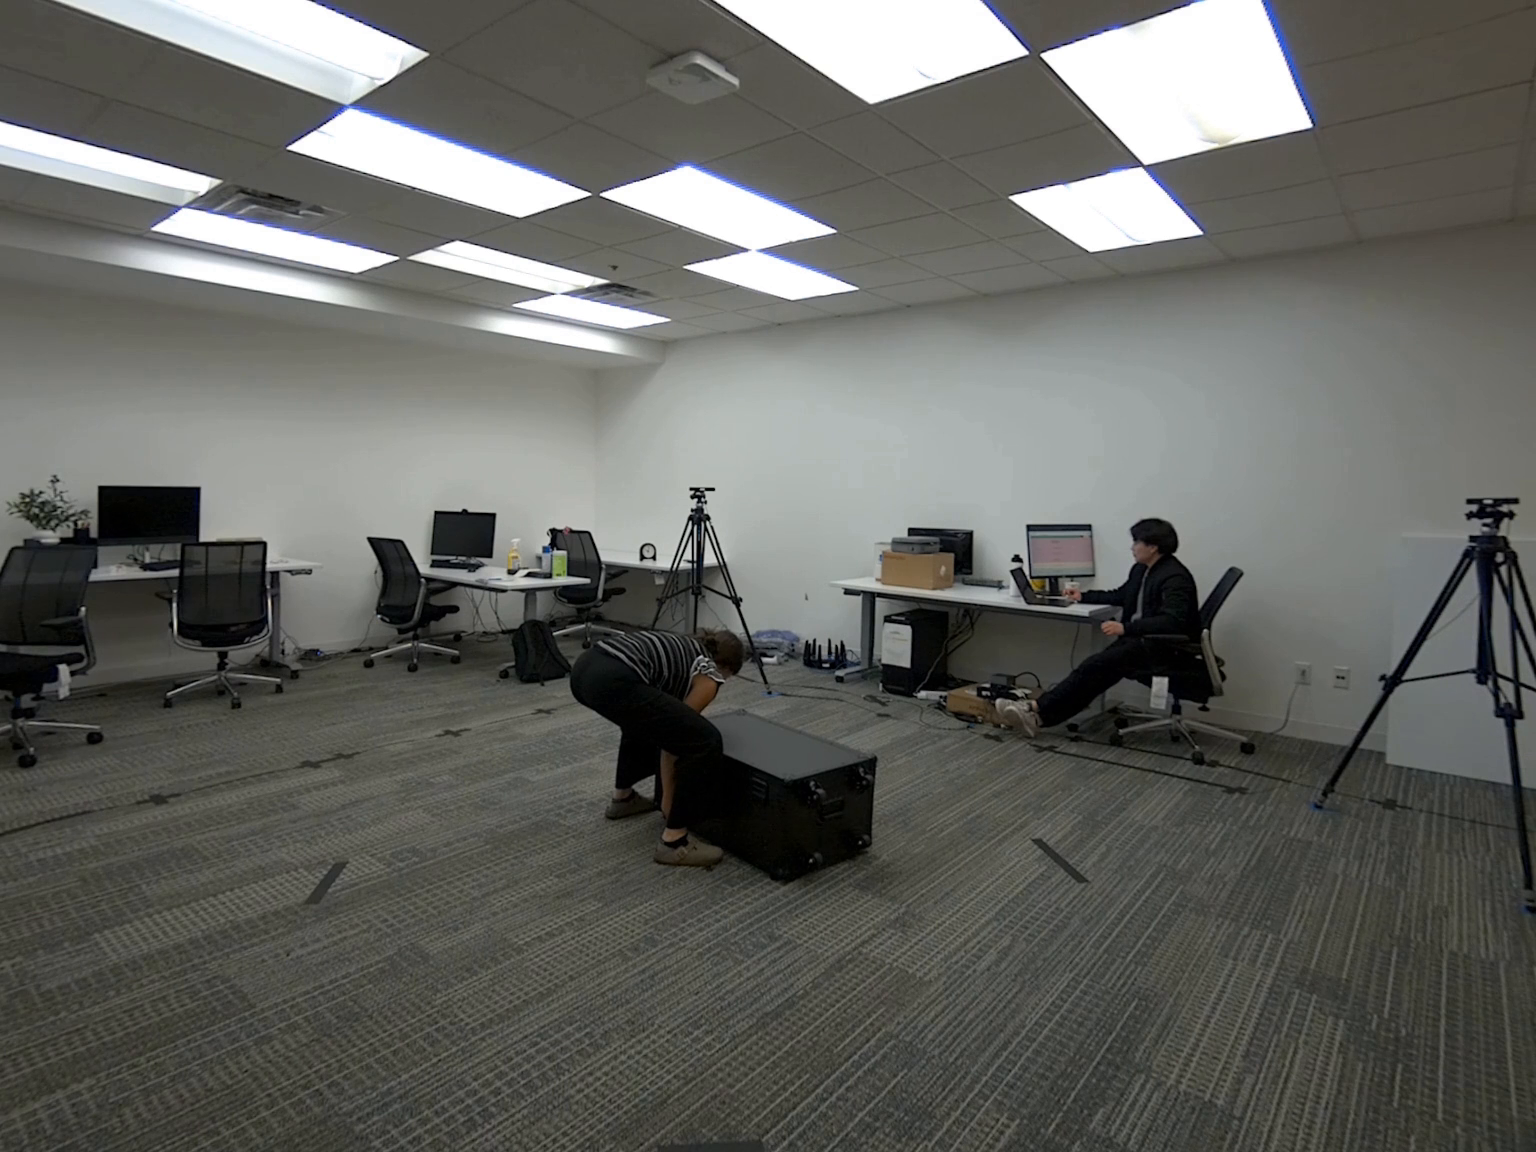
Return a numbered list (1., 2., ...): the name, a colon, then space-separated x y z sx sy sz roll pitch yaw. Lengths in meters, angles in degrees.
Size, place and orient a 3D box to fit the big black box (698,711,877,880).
1. big black box: -0.010 0.851 3.393 0.505 0.395 0.891 -3 7 -43
